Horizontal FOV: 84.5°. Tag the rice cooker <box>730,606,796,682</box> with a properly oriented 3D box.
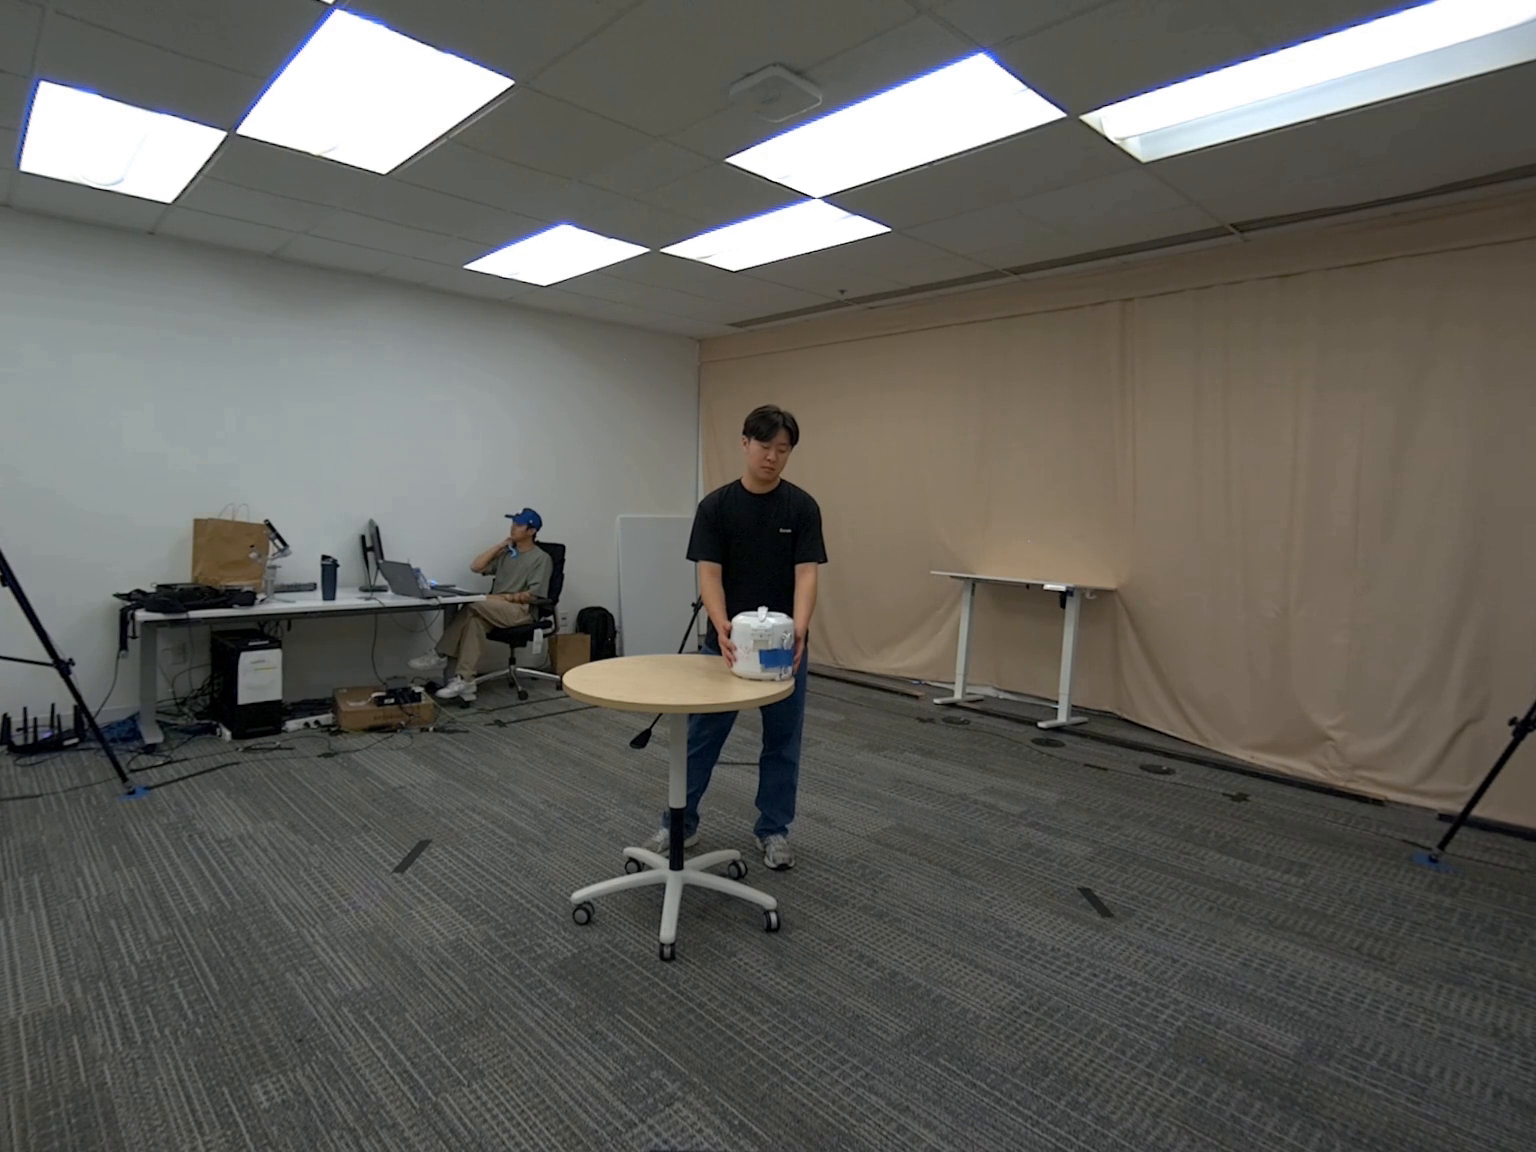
[{"bbox_3d":[-0.023,0.224,2.817,0.218,0.232,0.220,1,4,4],"label":"rice cooker"}]
